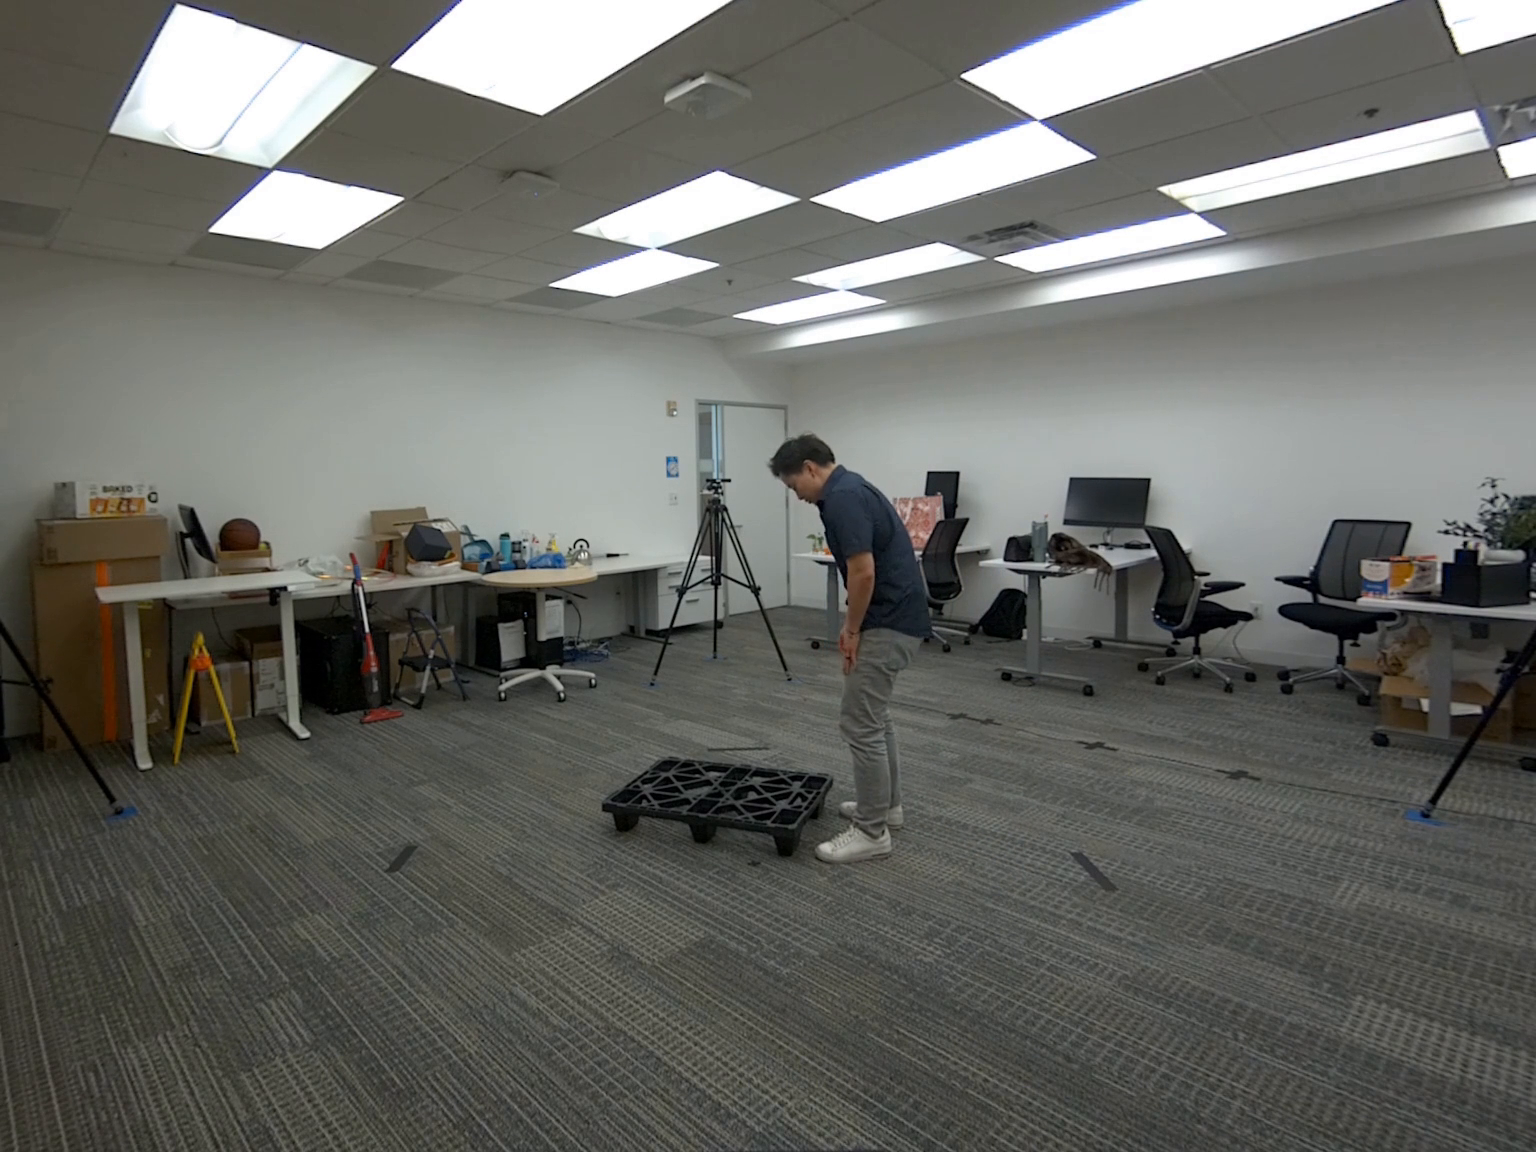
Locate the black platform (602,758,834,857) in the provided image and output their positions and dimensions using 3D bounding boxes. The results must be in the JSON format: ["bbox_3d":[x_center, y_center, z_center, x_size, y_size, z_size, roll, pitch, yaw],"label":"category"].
[{"bbox_3d":[-0.190,0.934,3.501,0.821,0.143,0.596,2,6,20],"label":"black platform"}]
